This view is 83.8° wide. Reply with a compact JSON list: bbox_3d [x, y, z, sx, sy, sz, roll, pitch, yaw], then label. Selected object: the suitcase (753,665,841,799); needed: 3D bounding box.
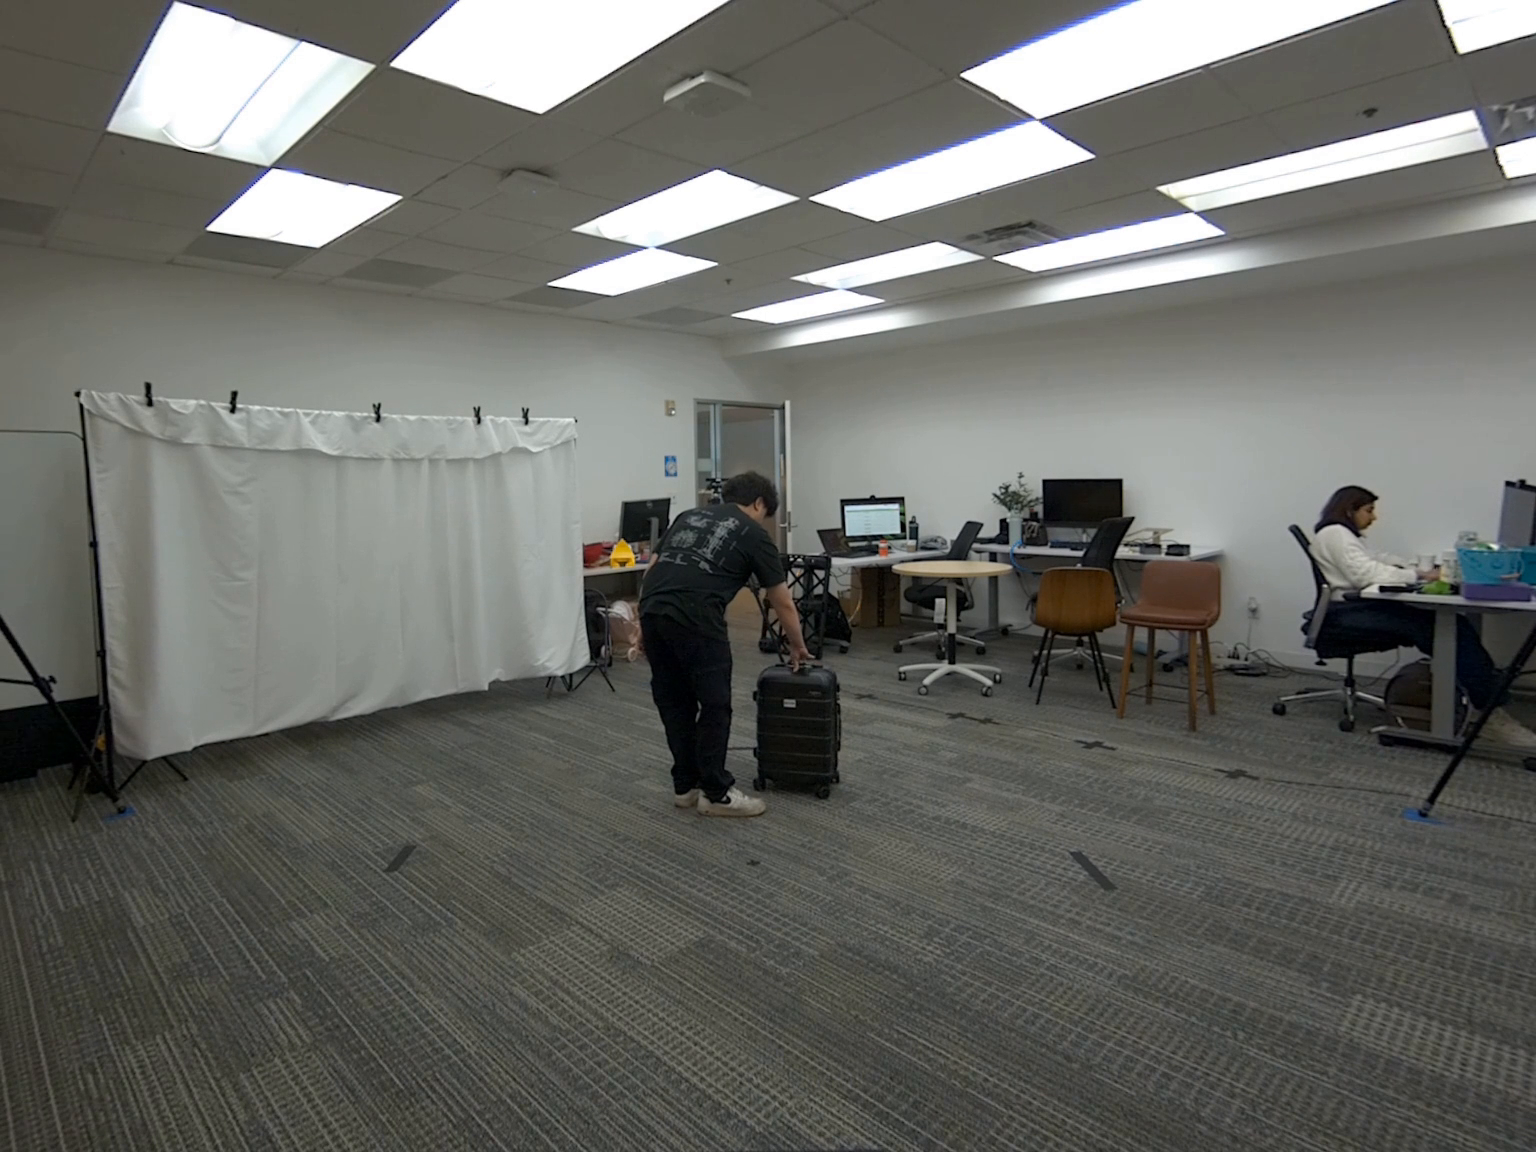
[{"bbox_3d":[0.137,0.677,3.868,0.381,0.547,0.245,1,5,16],"label":"suitcase"}]
